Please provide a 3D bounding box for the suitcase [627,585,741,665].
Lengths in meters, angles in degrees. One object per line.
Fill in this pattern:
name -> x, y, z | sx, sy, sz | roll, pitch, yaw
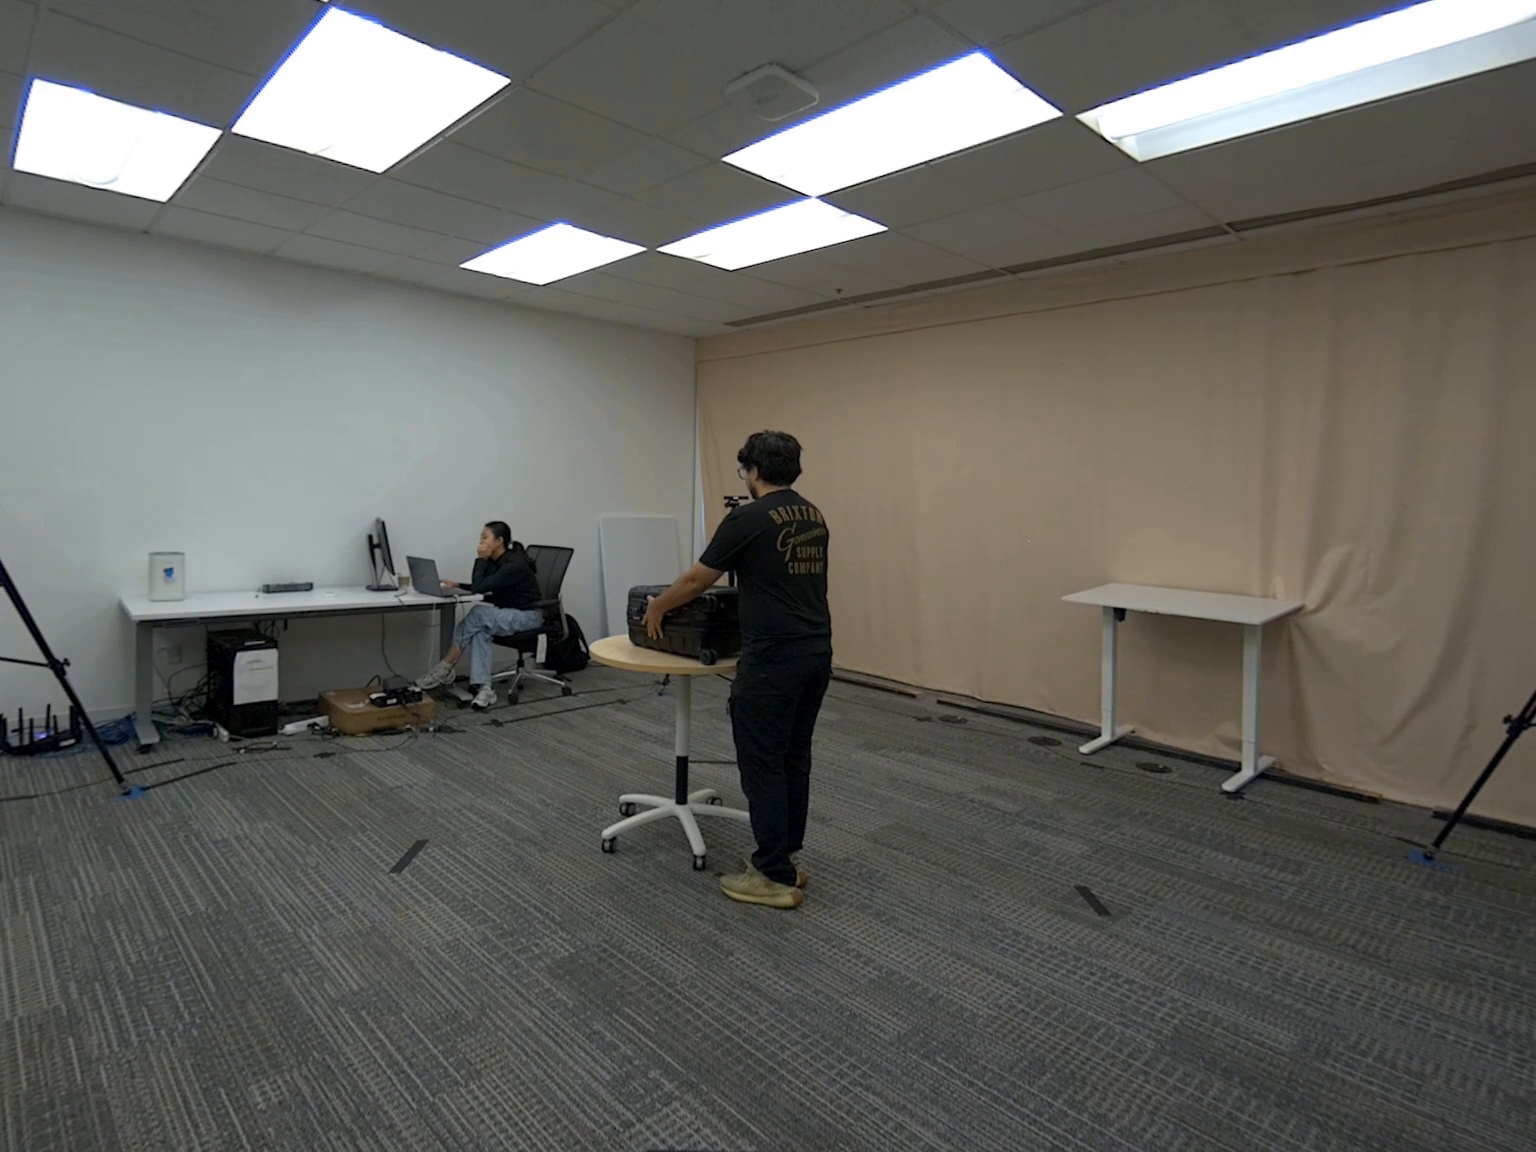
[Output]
suitcase -> -0.297, 0.171, 3.358 | 0.367, 0.248, 0.563 | -4, 6, -44
